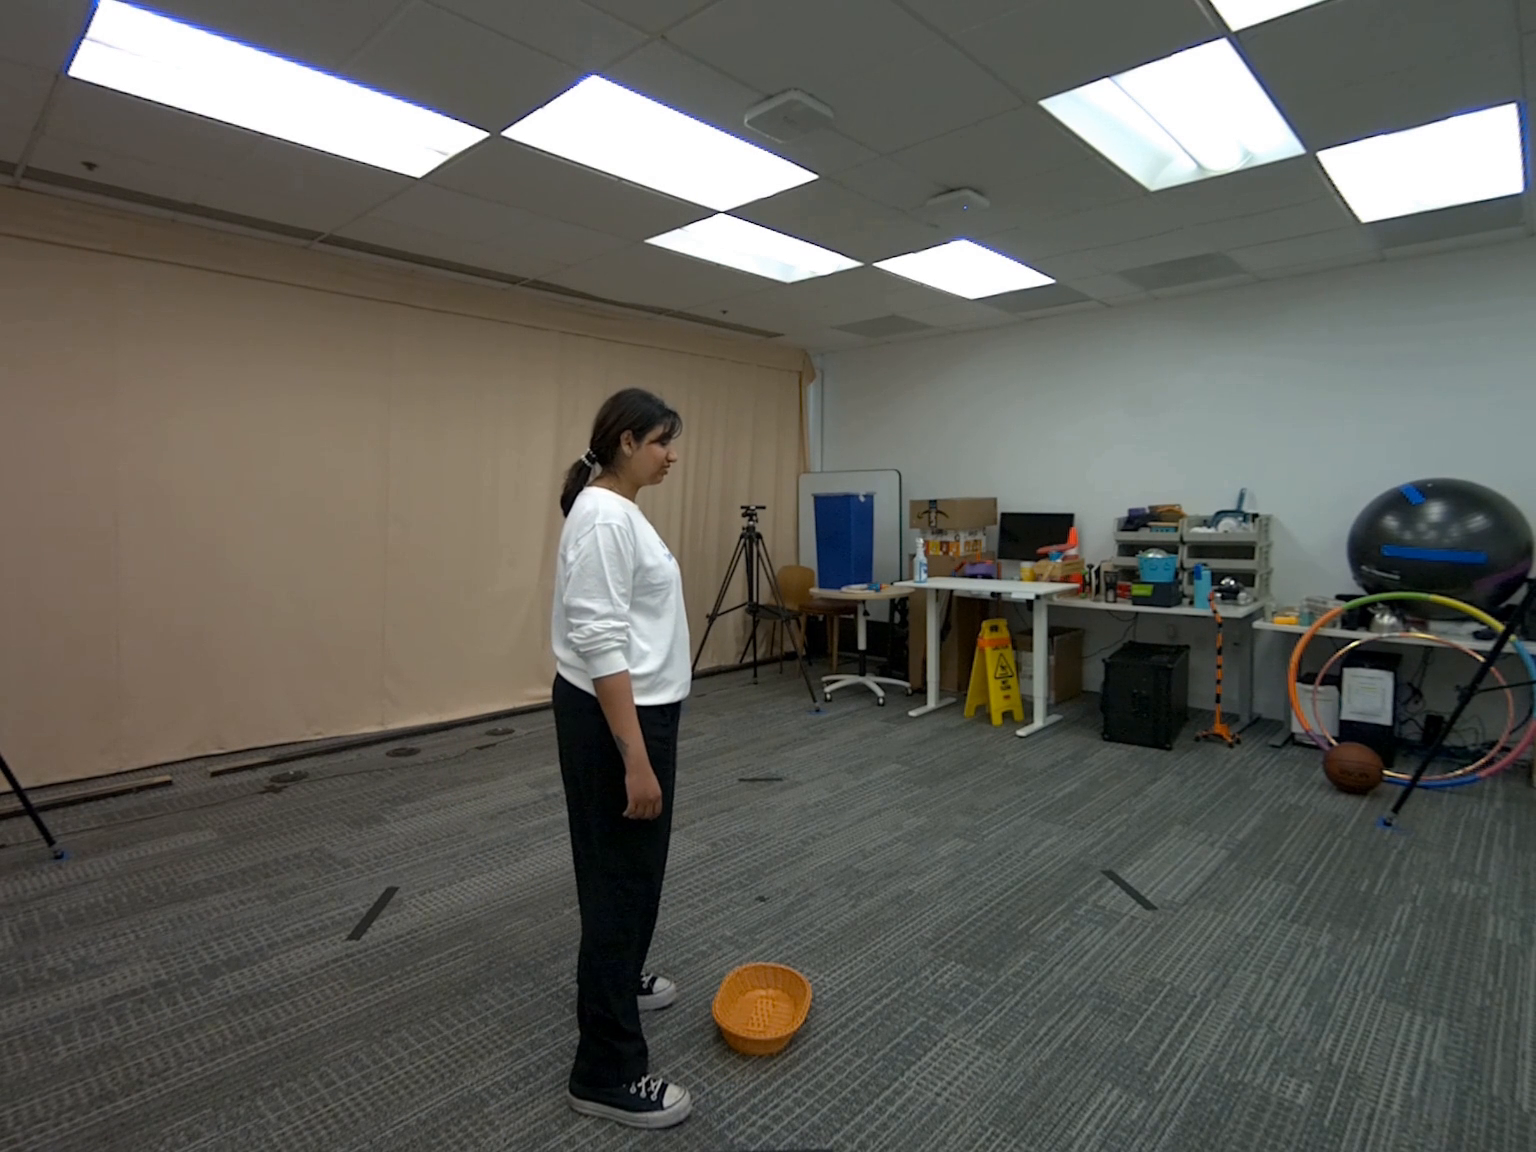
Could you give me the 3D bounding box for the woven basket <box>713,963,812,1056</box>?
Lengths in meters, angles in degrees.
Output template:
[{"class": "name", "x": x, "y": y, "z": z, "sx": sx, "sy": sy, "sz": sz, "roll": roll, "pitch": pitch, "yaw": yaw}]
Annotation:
[{"class": "woven basket", "x": -0.006, "y": 1.168, "z": 2.262, "sx": 0.256, "sy": 0.073, "sz": 0.346, "roll": 2, "pitch": 5, "yaw": 12}]
